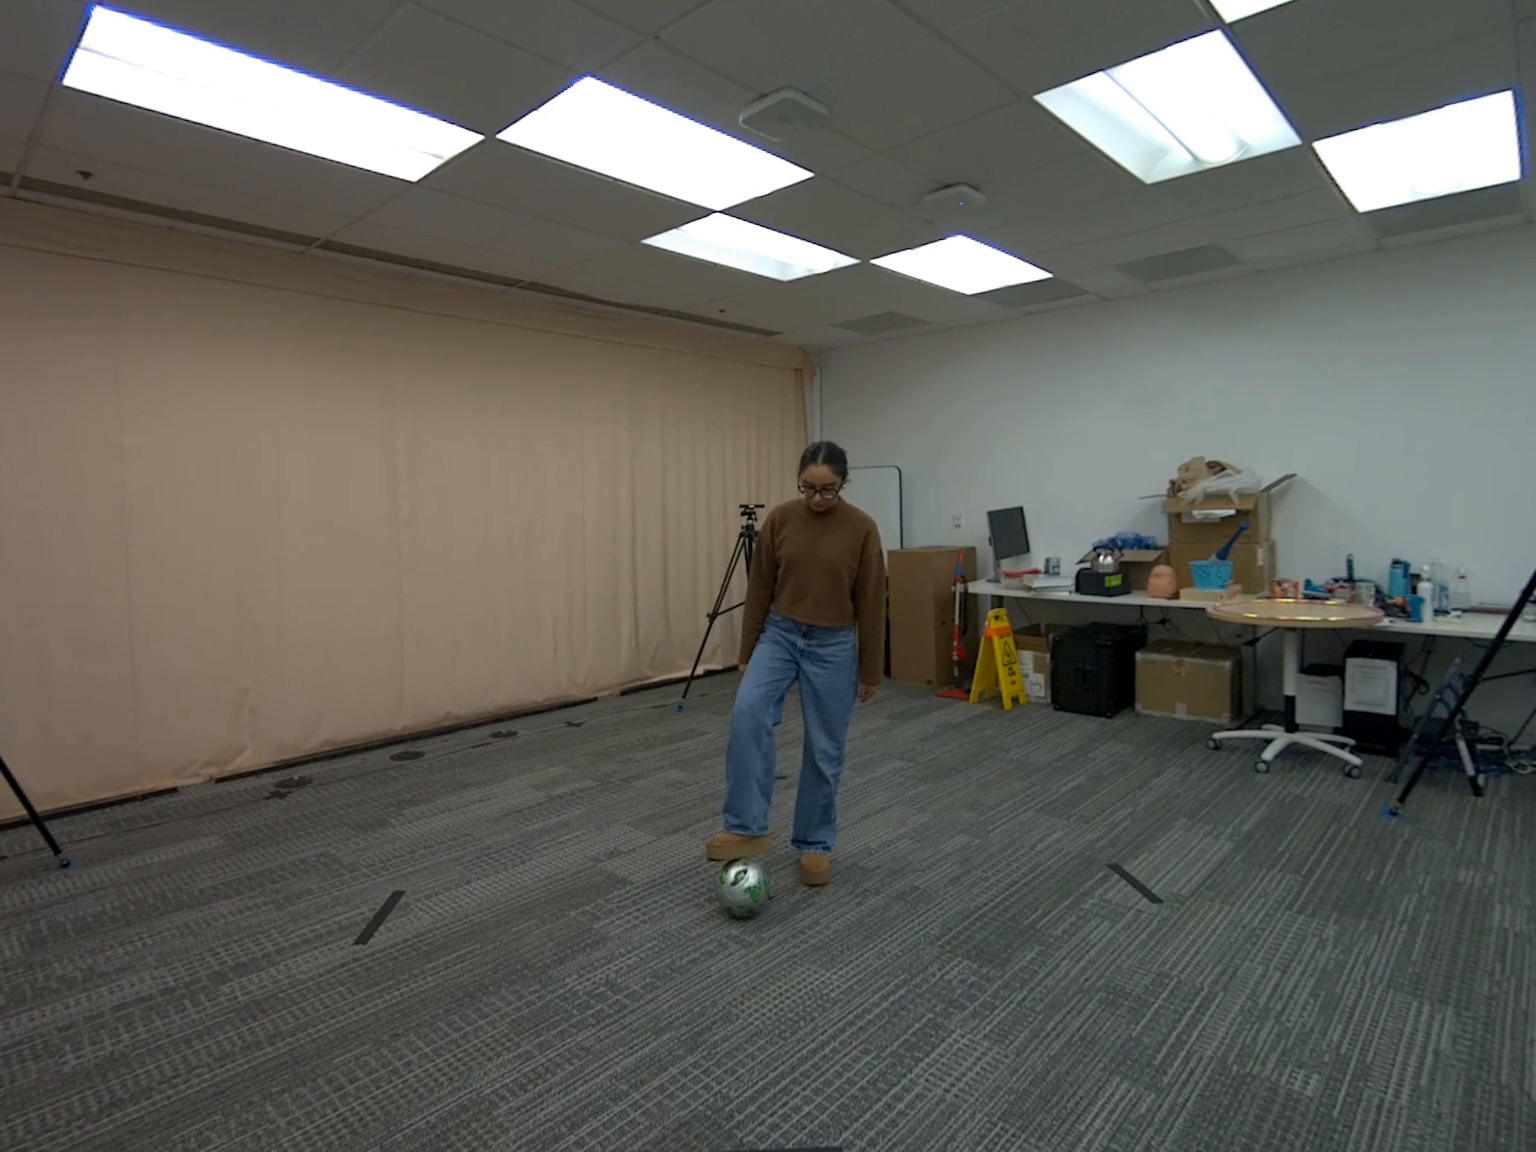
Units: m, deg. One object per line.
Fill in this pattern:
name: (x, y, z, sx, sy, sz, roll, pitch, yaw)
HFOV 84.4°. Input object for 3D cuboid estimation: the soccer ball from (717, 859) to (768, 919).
soccer ball: (-0.079, 1.060, 2.858, 0.187, 0.187, 0.188, -1, 4, -2)
